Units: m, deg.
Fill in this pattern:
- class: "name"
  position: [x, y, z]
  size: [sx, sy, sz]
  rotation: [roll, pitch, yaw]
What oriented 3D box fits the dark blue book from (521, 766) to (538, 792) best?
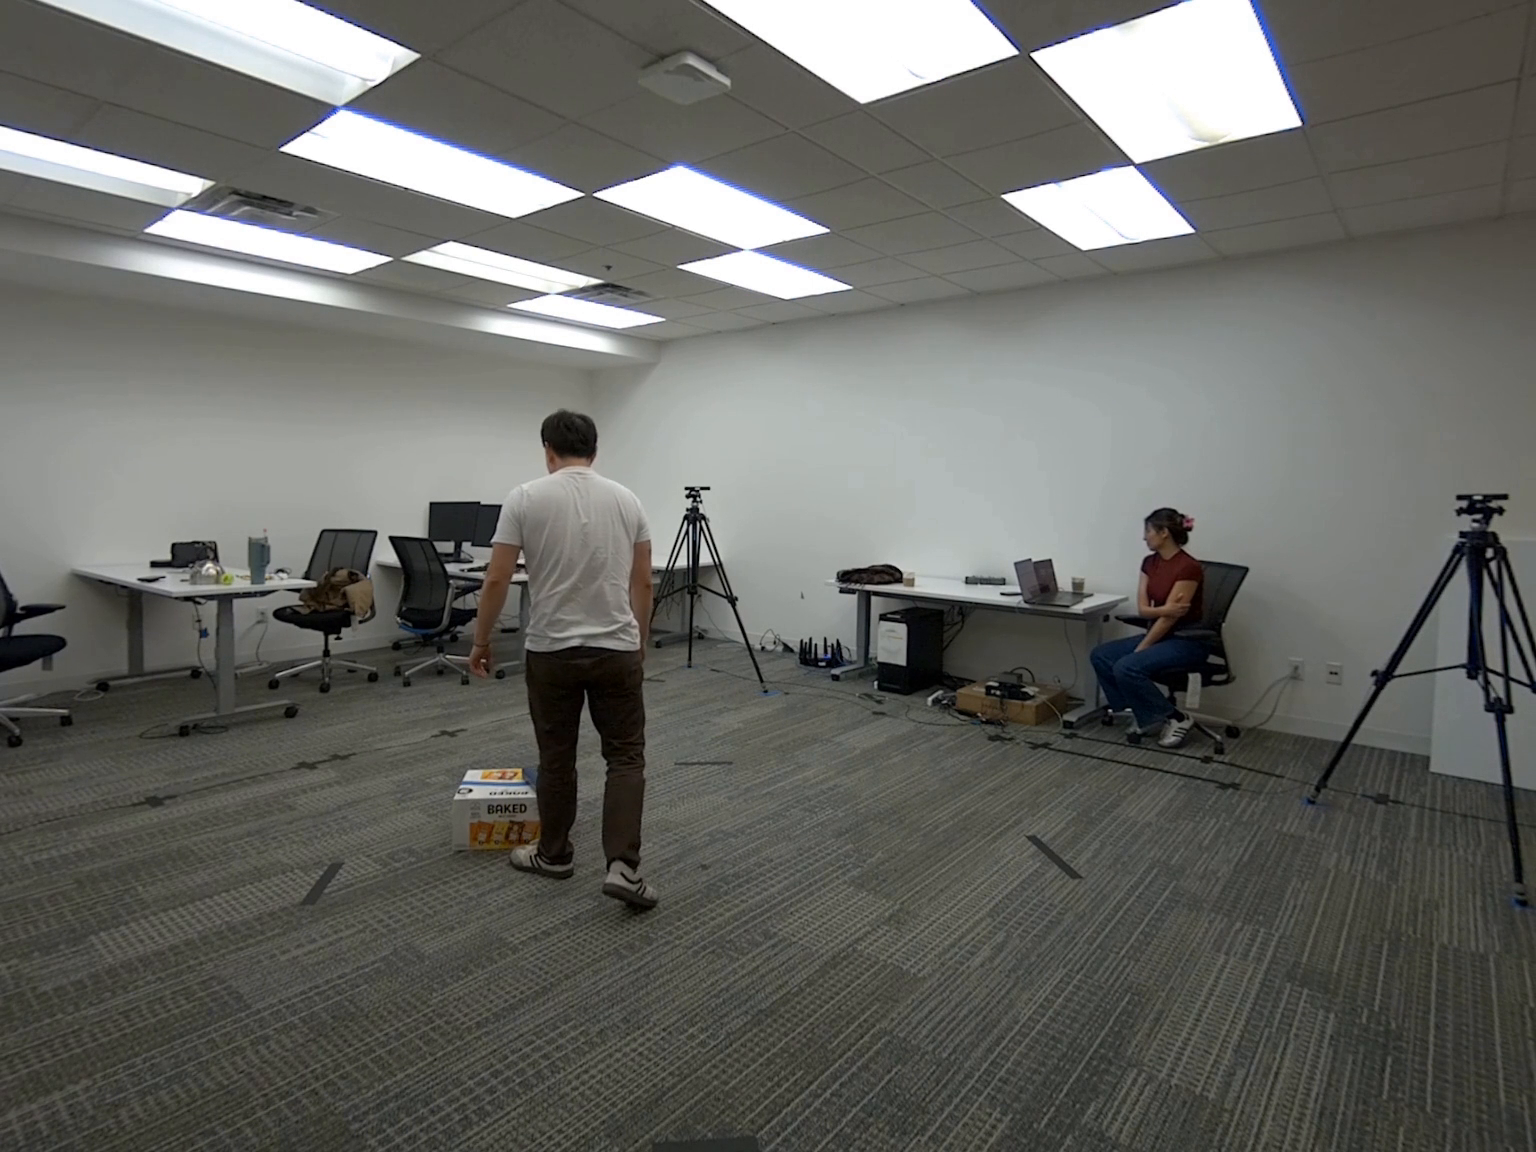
- class: "dark blue book"
  position: [-0.887, 0.801, 3.409]
  size: [0.159, 0.045, 0.252]
  rotation: [-6, 7, -29]
